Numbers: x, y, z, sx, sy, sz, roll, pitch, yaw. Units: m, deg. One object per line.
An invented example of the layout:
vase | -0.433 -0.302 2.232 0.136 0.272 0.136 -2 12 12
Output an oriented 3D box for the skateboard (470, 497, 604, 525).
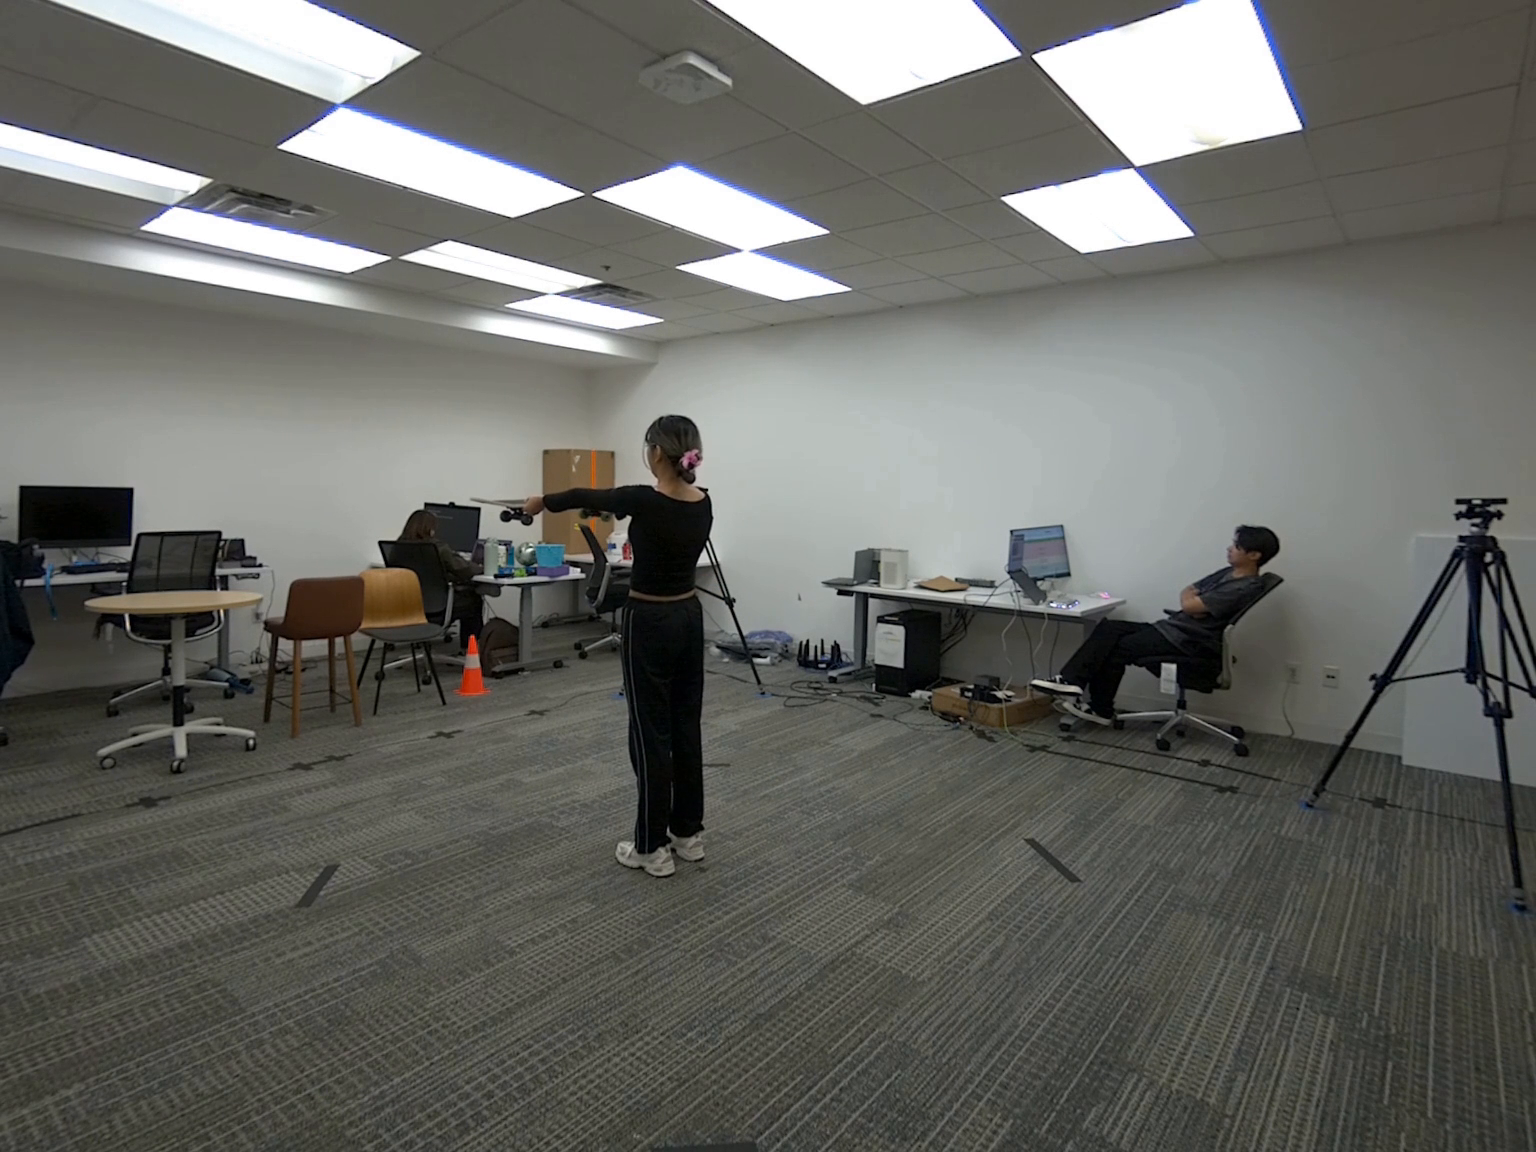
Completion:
skateboard | -0.897 -0.286 3.552 0.200 0.110 0.763 8 10 41
